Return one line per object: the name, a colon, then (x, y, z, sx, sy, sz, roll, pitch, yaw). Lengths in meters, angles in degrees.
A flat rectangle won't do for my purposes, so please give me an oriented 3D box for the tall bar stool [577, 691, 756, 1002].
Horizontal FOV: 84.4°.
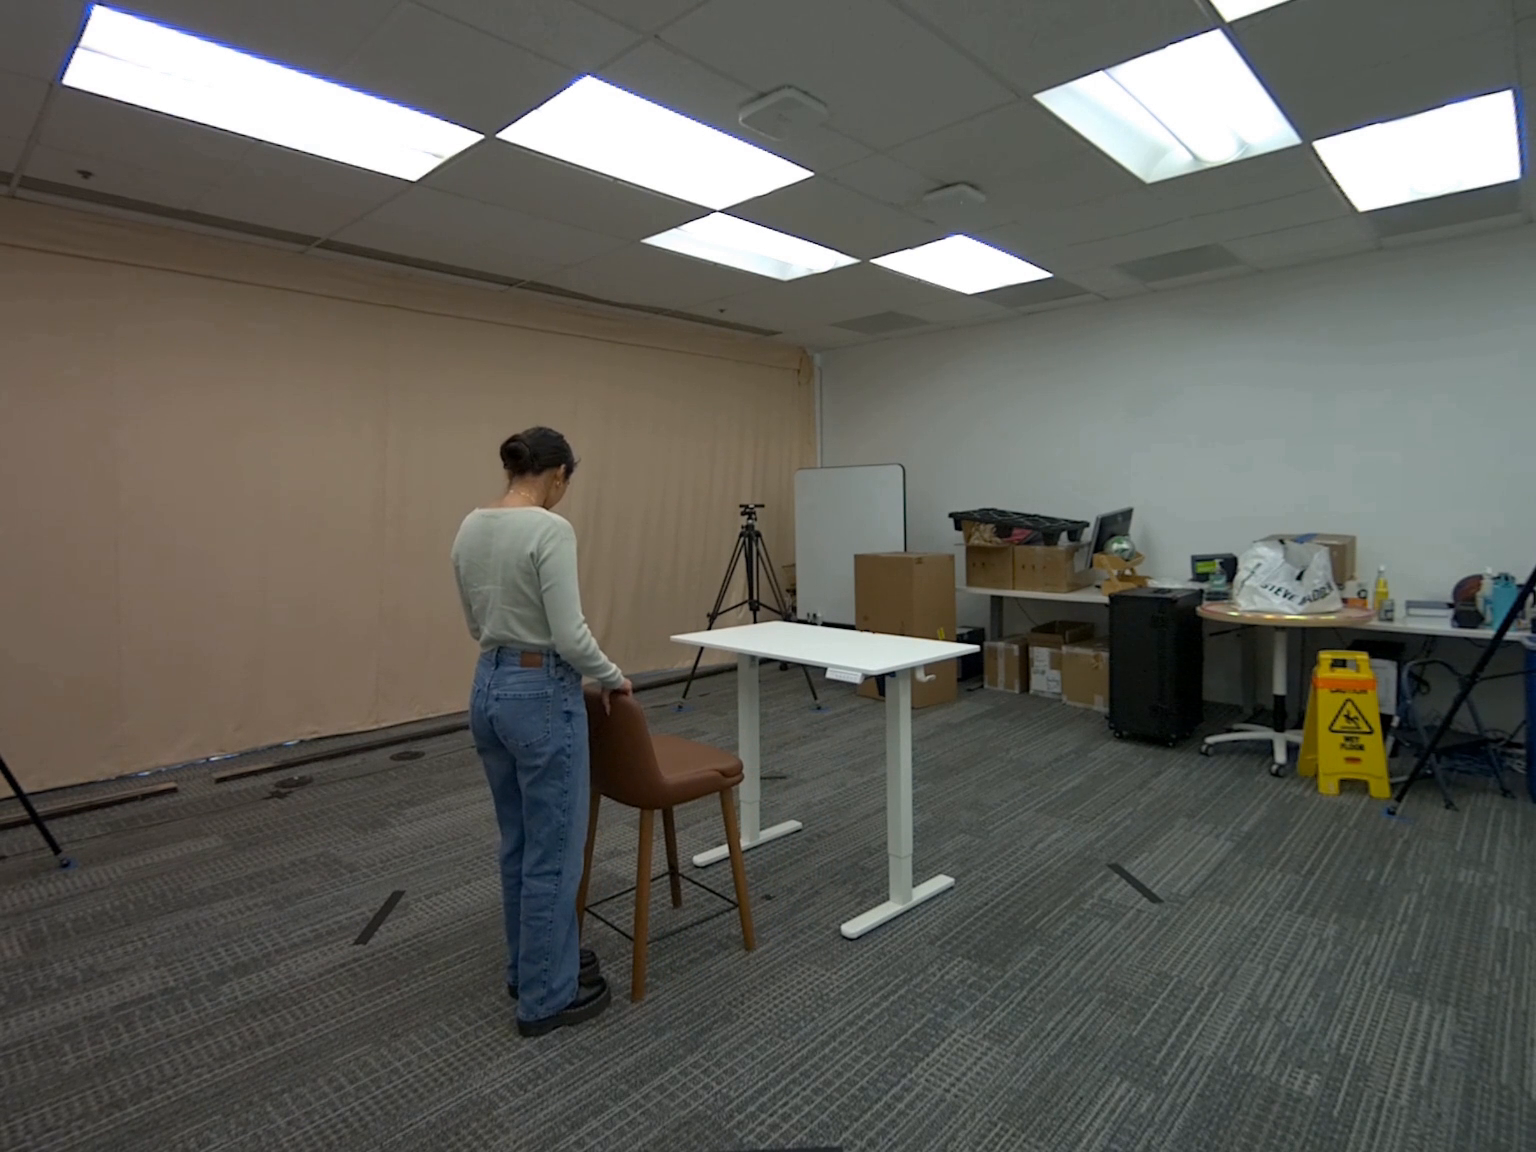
tall bar stool: (-0.355, 0.736, 2.614, 0.454, 0.887, 0.471, -7, 6, -41)
